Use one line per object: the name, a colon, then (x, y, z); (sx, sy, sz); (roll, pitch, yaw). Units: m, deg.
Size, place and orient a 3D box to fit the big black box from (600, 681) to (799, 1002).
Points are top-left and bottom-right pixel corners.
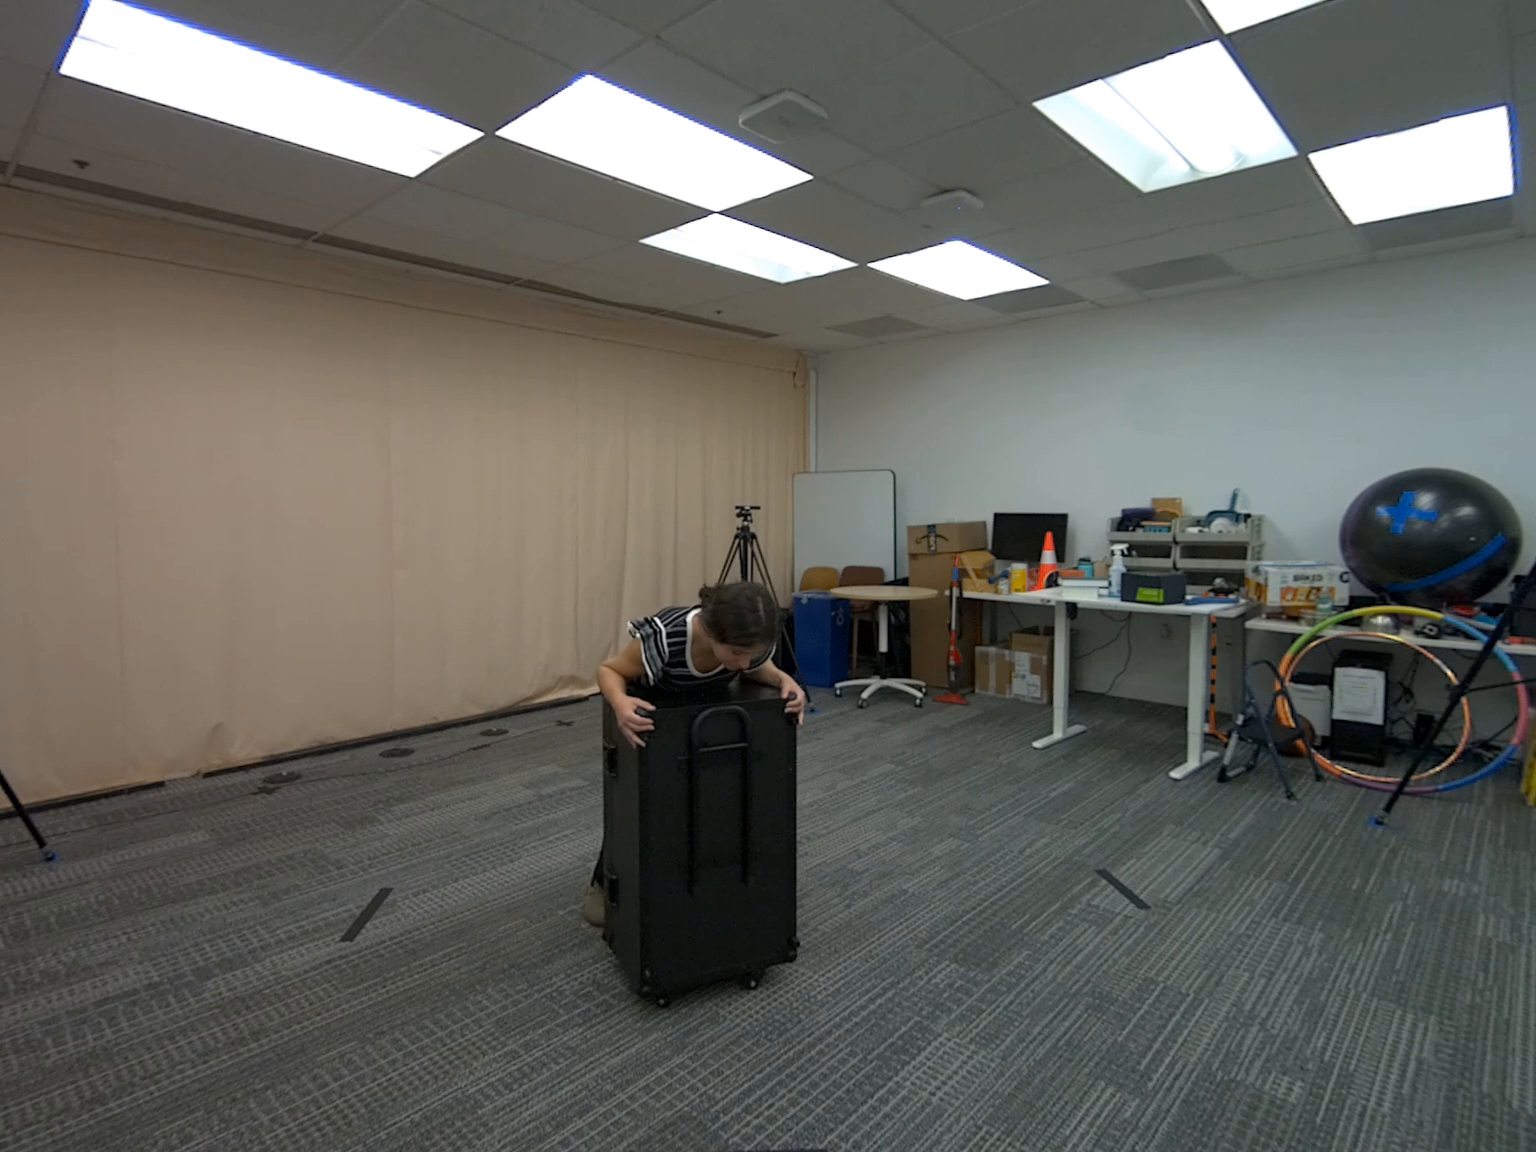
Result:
big black box: (-0.194, 0.777, 2.480); (0.509, 0.859, 0.407); (-1, 5, -24)
